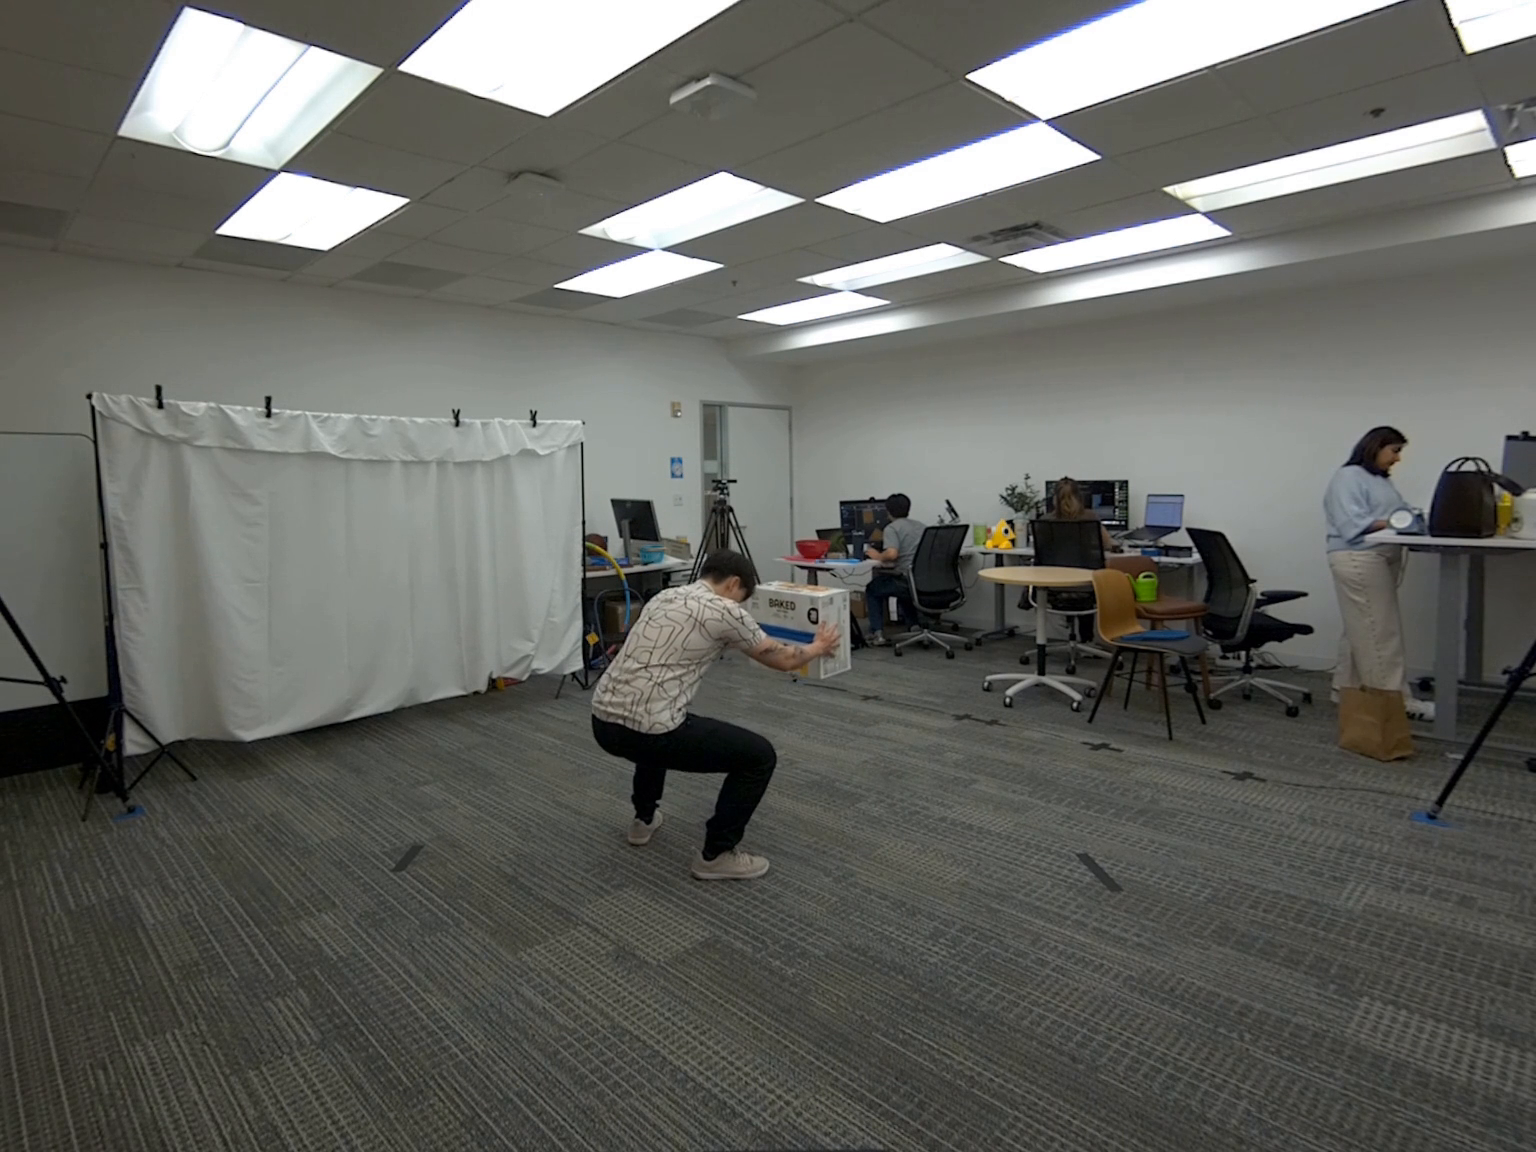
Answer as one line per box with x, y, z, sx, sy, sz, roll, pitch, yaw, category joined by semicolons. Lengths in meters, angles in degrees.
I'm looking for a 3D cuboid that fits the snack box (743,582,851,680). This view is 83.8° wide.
0.128;0.214;3.623;0.418;0.338;0.201;6;11;44;snack box
